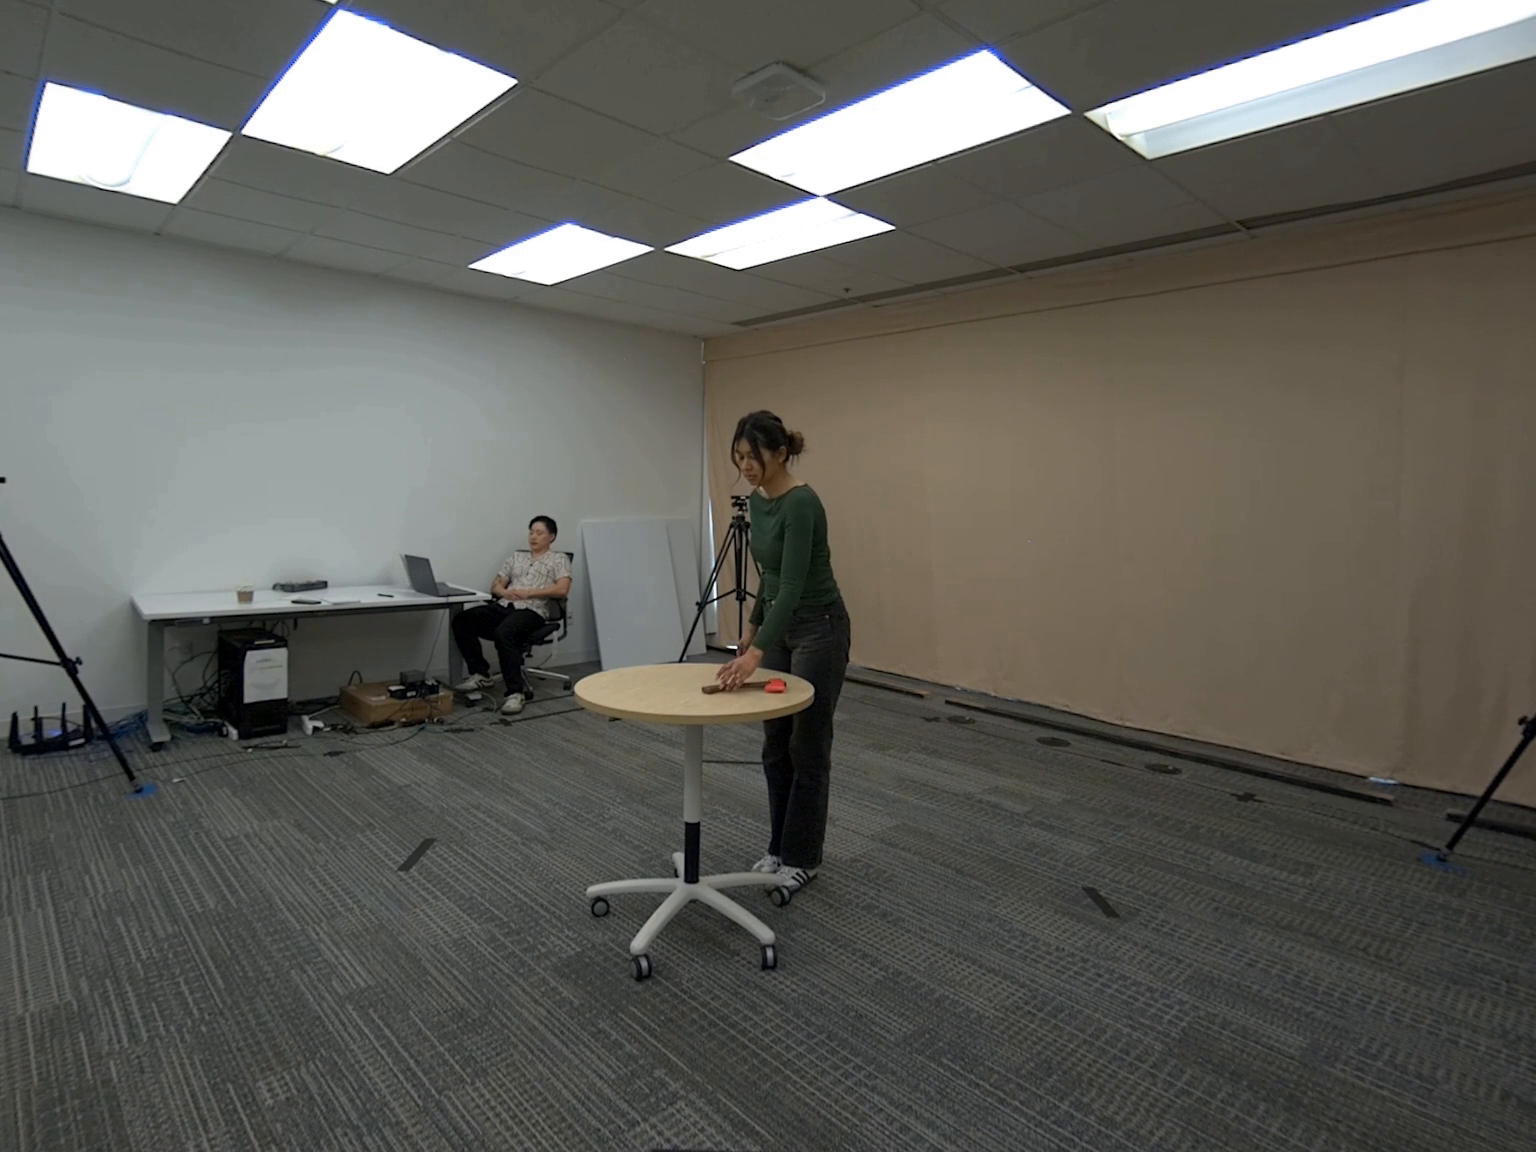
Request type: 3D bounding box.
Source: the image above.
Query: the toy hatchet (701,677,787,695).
[{"bbox_3d":[-0.075,0.355,2.624,0.265,0.029,0.134,-4,9,-29],"label":"toy hatchet"}]
